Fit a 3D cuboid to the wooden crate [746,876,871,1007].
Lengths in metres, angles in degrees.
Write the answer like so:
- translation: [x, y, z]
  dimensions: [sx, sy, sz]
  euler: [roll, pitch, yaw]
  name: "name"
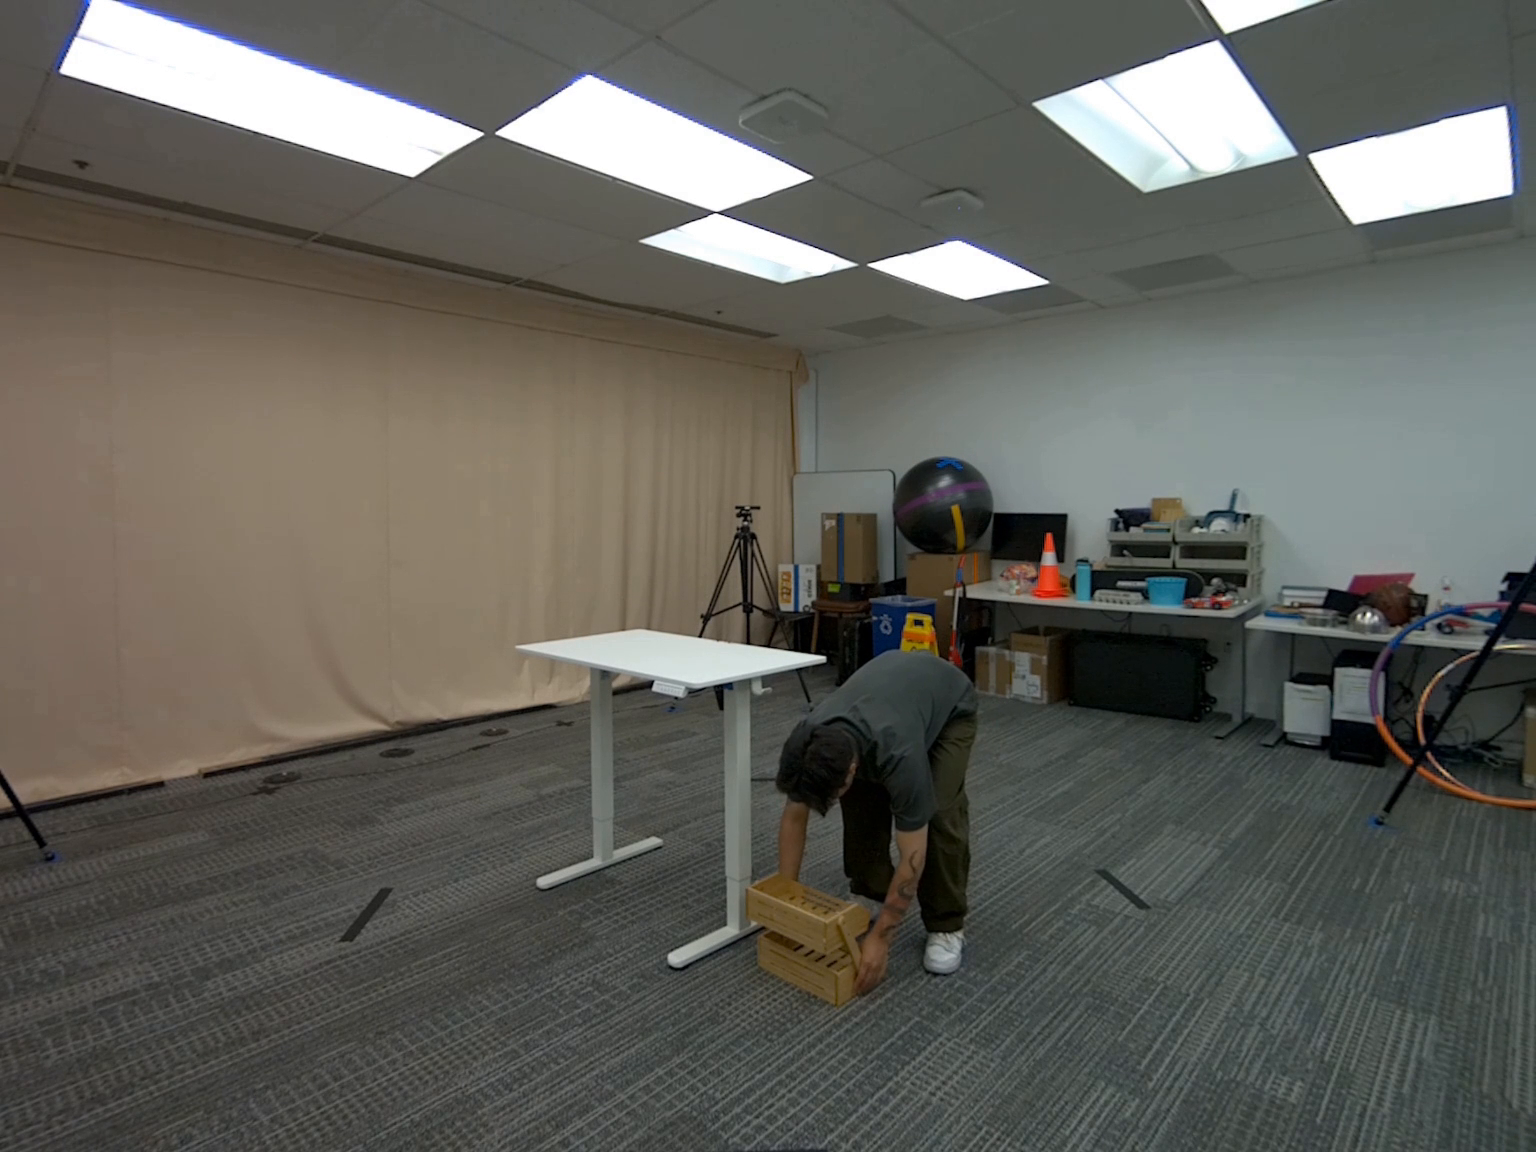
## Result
- translation: [0.153, 1.054, 2.509]
  dimensions: [0.335, 0.273, 0.293]
  euler: [3, 5, 43]
  name: "wooden crate"
